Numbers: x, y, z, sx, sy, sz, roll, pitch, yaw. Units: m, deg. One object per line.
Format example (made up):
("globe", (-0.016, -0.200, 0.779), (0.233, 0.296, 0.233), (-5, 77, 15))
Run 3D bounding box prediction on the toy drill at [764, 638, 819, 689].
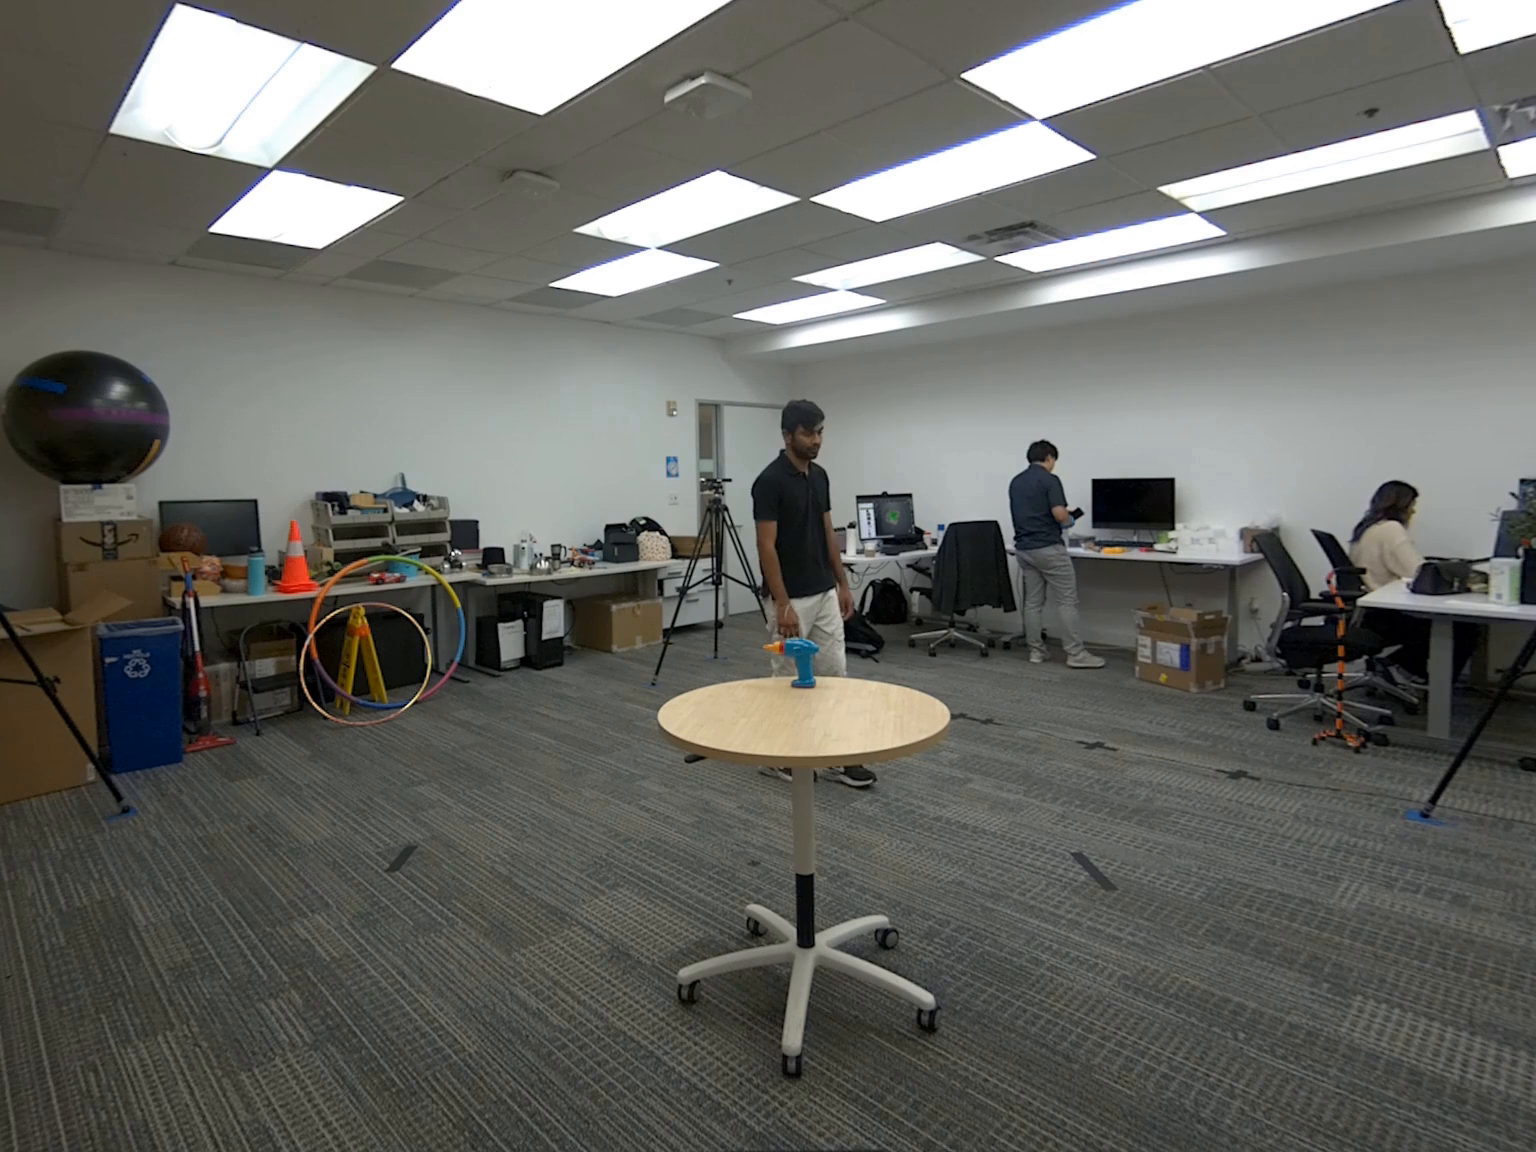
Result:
("toy drill", (0.072, 0.255, 2.531), (0.173, 0.145, 0.060), (1, 3, 17))
